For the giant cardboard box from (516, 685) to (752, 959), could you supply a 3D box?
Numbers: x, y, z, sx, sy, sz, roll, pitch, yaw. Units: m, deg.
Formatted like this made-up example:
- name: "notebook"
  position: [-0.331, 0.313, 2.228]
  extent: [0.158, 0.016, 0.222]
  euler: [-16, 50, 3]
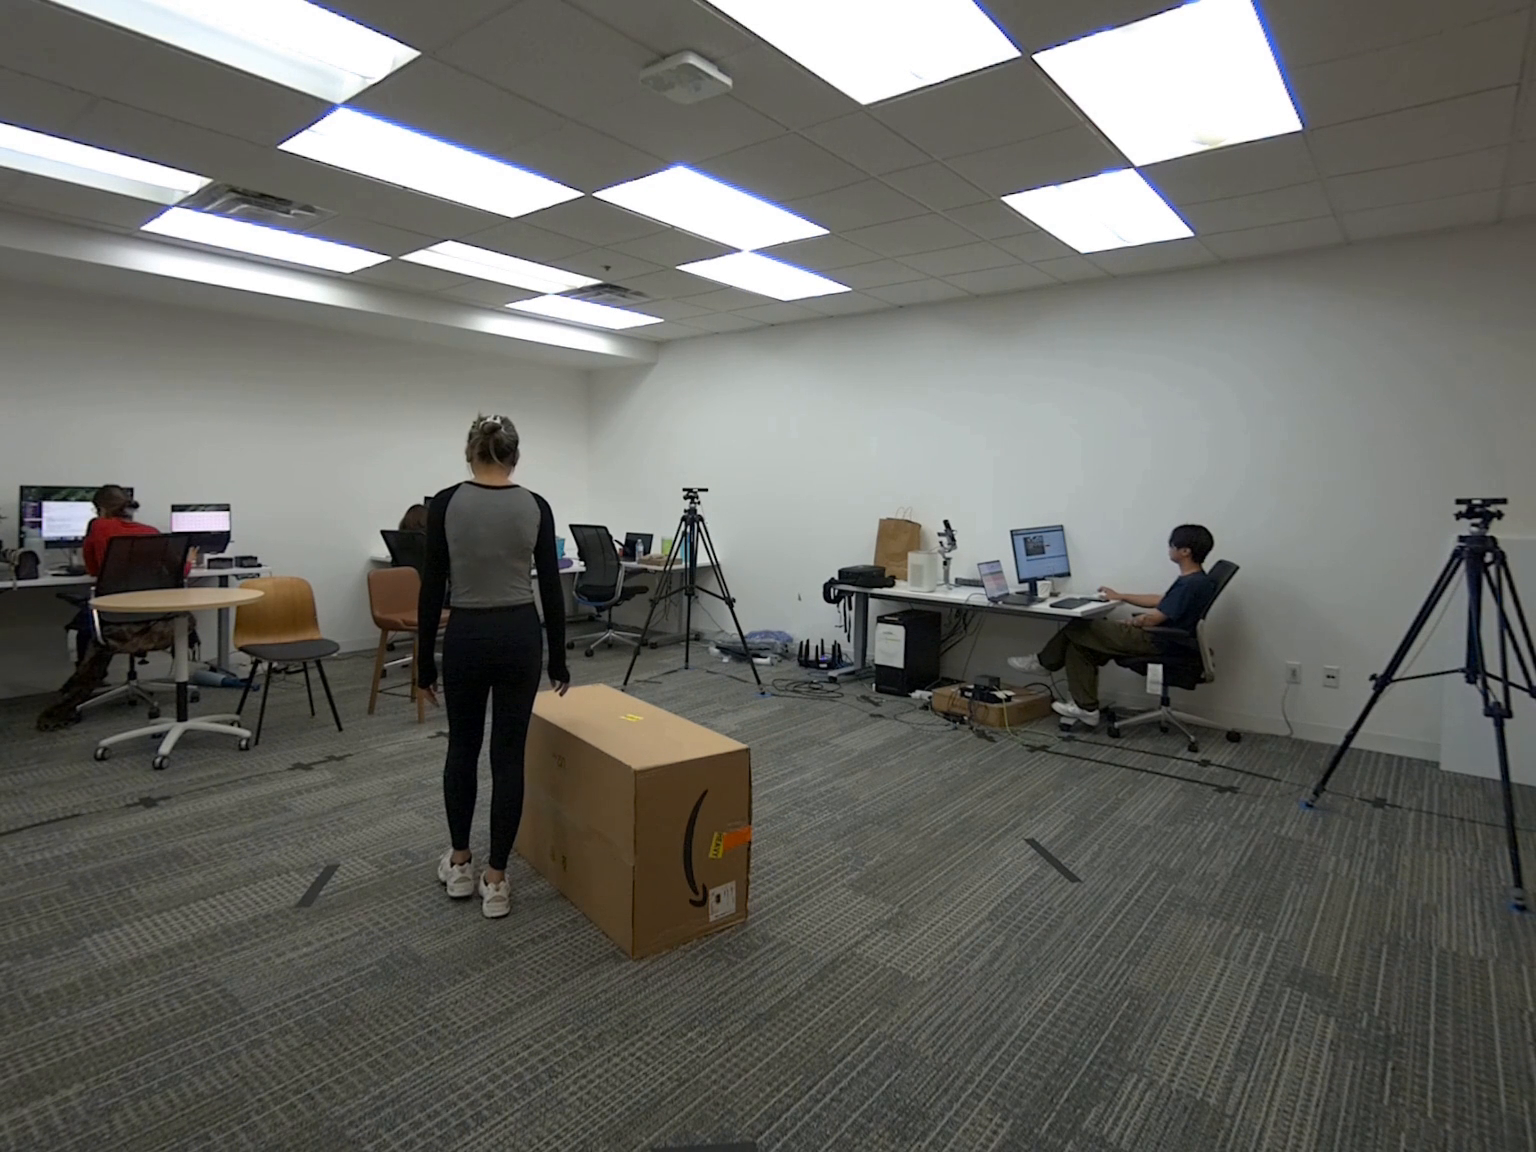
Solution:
- name: "giant cardboard box"
  position: [-0.547, 0.786, 3.011]
  extent: [0.414, 0.575, 1.060]
  euler: [-2, 6, -37]
